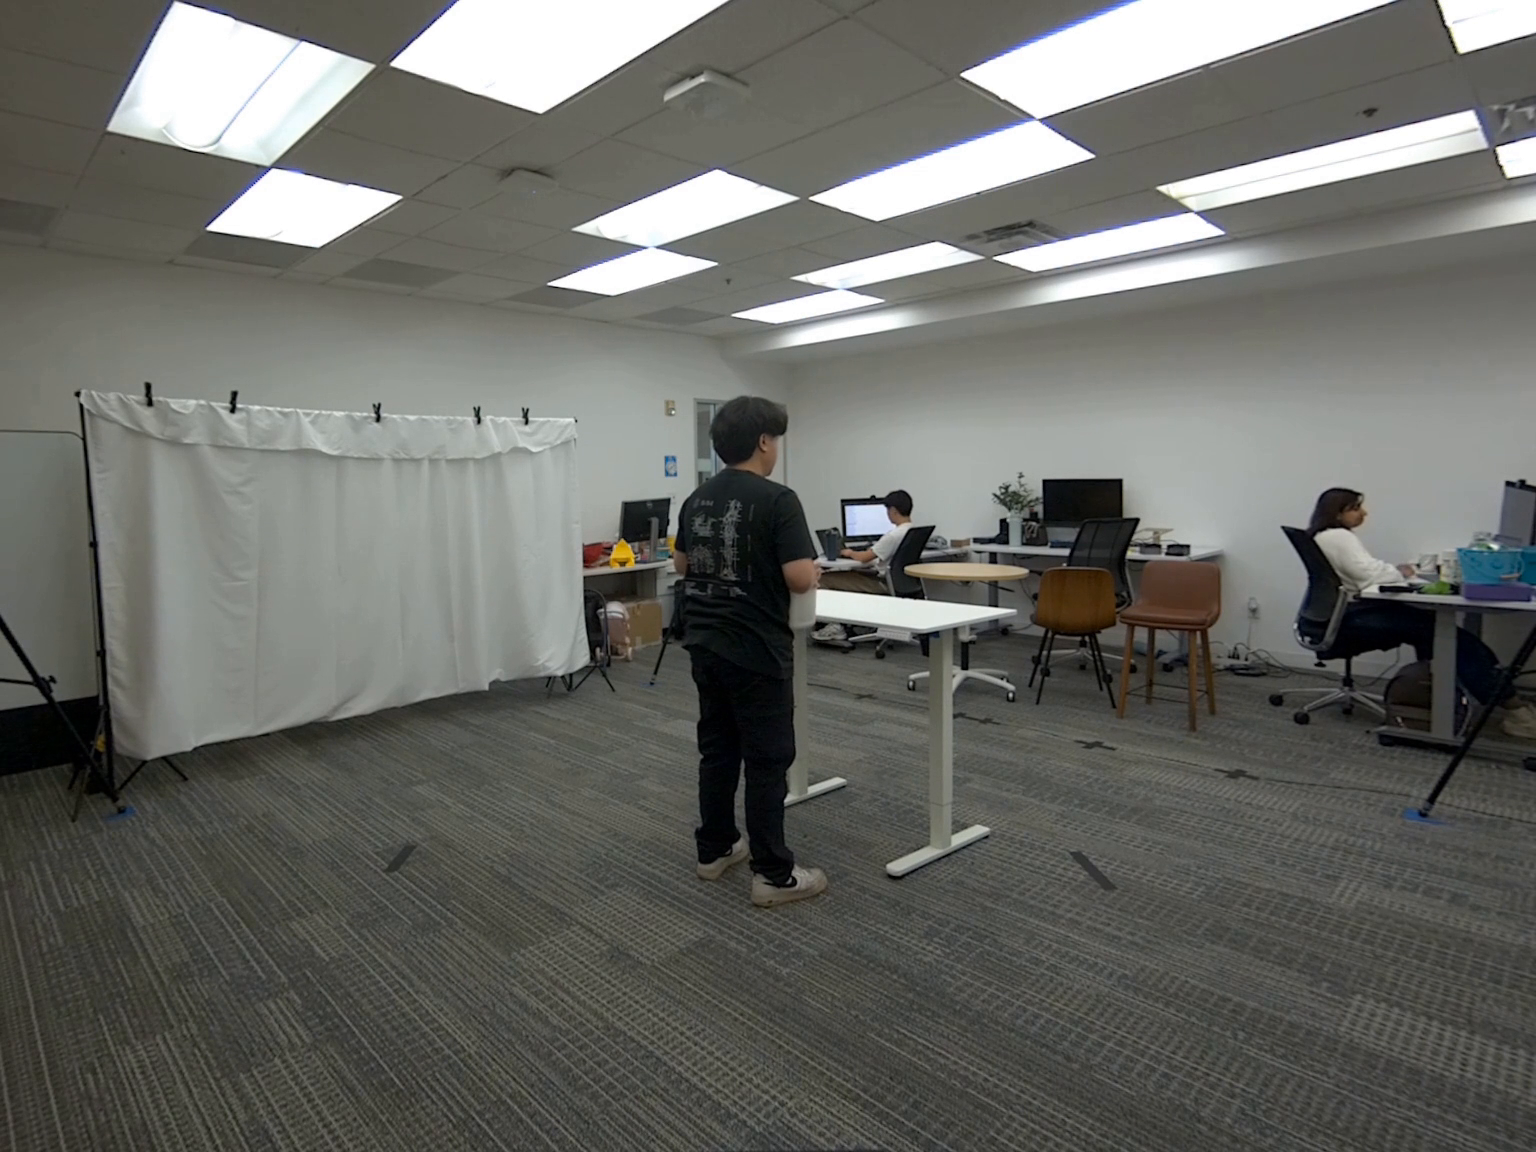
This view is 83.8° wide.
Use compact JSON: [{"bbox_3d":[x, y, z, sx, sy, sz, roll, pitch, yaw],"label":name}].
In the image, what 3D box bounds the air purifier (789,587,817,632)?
[{"bbox_3d":[0.076,0.056,3.048,0.176,0.264,0.167,8,9,44],"label":"air purifier"}]
